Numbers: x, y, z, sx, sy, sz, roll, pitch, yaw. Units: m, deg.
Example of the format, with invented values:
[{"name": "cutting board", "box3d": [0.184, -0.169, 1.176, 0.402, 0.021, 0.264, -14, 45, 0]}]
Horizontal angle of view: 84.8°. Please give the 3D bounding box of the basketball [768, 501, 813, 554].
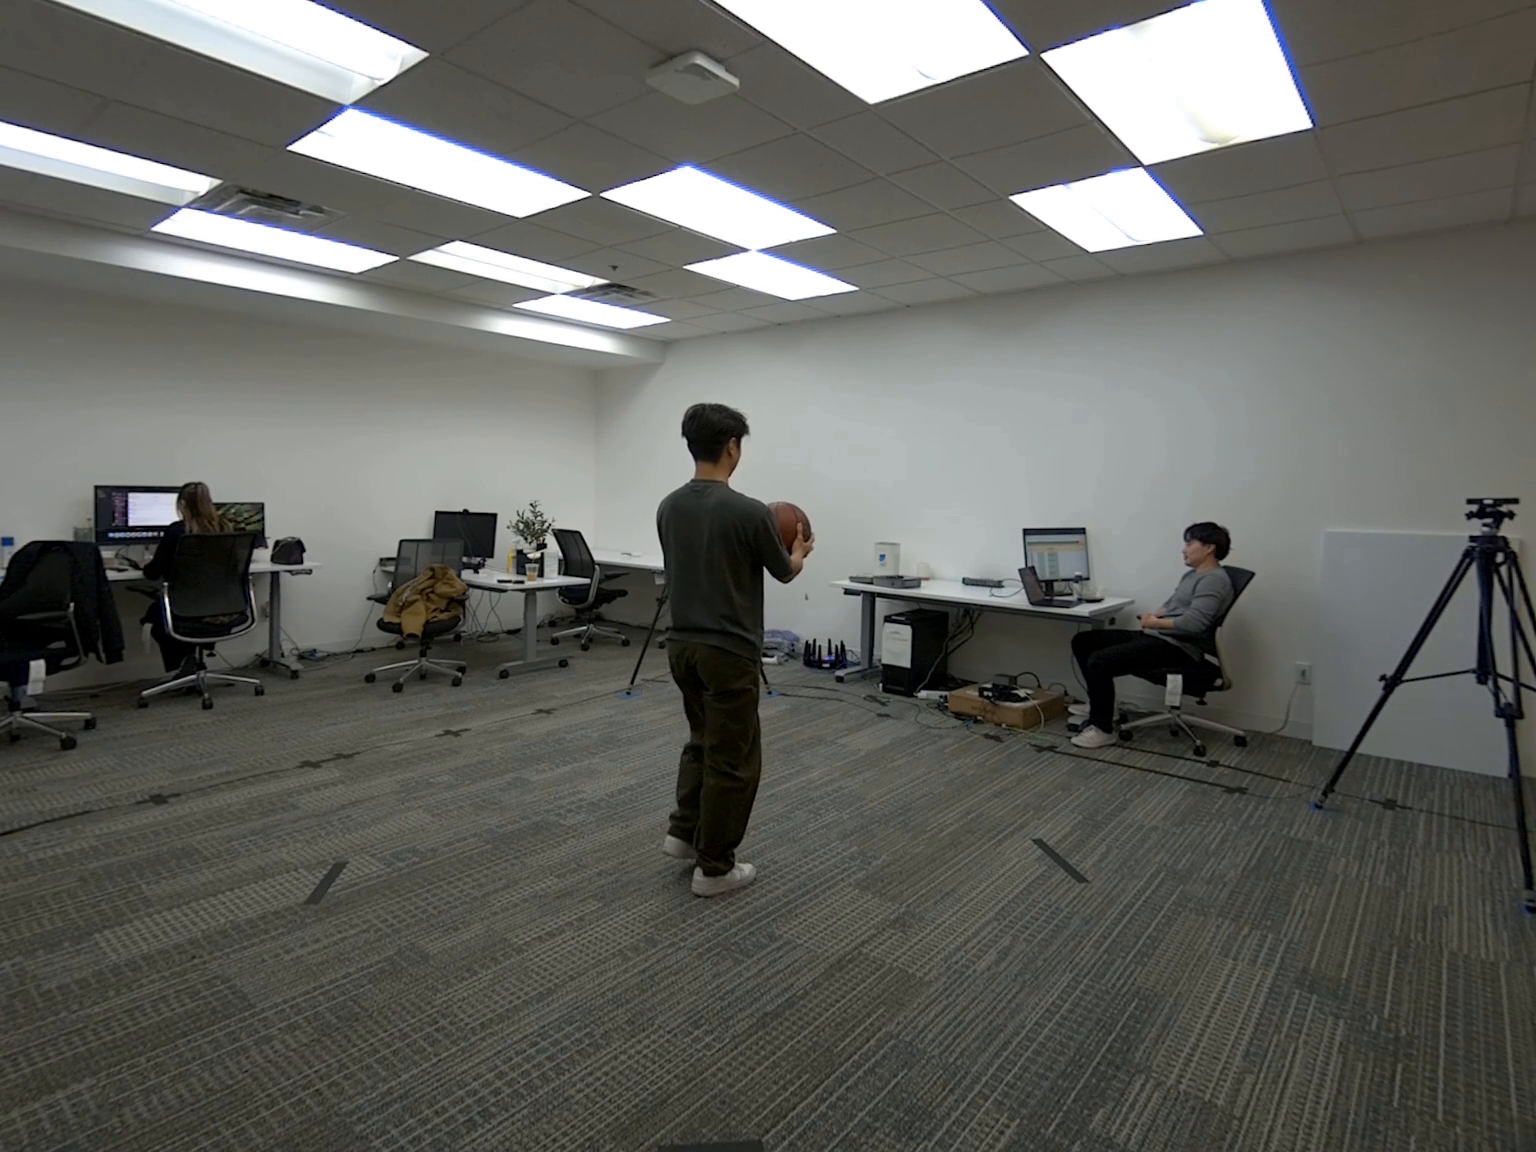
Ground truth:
[{"name": "basketball", "box3d": [0.039, -0.173, 3.294, 0.235, 0.235, 0.237, 1, 4, -2]}]
